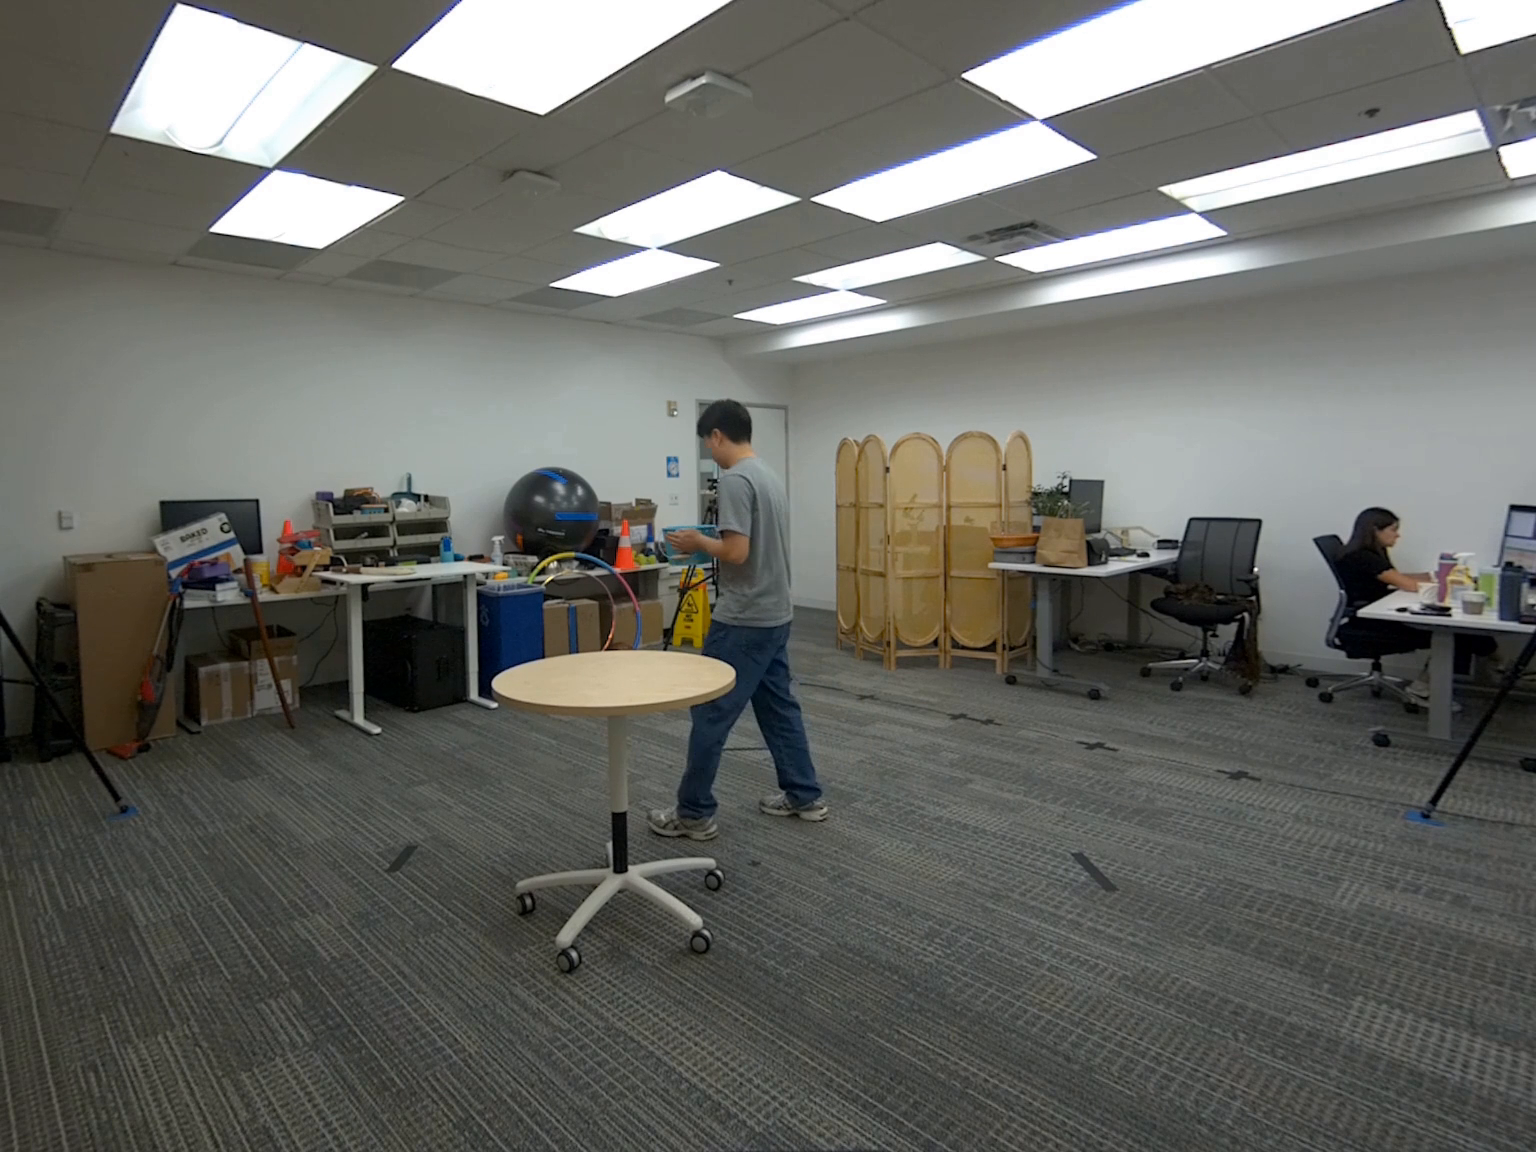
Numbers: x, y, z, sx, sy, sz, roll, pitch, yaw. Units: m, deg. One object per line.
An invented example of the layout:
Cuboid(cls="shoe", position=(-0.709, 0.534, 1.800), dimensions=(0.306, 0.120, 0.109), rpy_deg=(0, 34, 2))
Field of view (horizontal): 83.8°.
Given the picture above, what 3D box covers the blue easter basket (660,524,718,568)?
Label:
Cuboid(cls="blue easter basket", position=(-0.312, -0.127, 3.531), dimensions=(0.243, 0.155, 0.245), rpy_deg=(-1, 5, -2))
